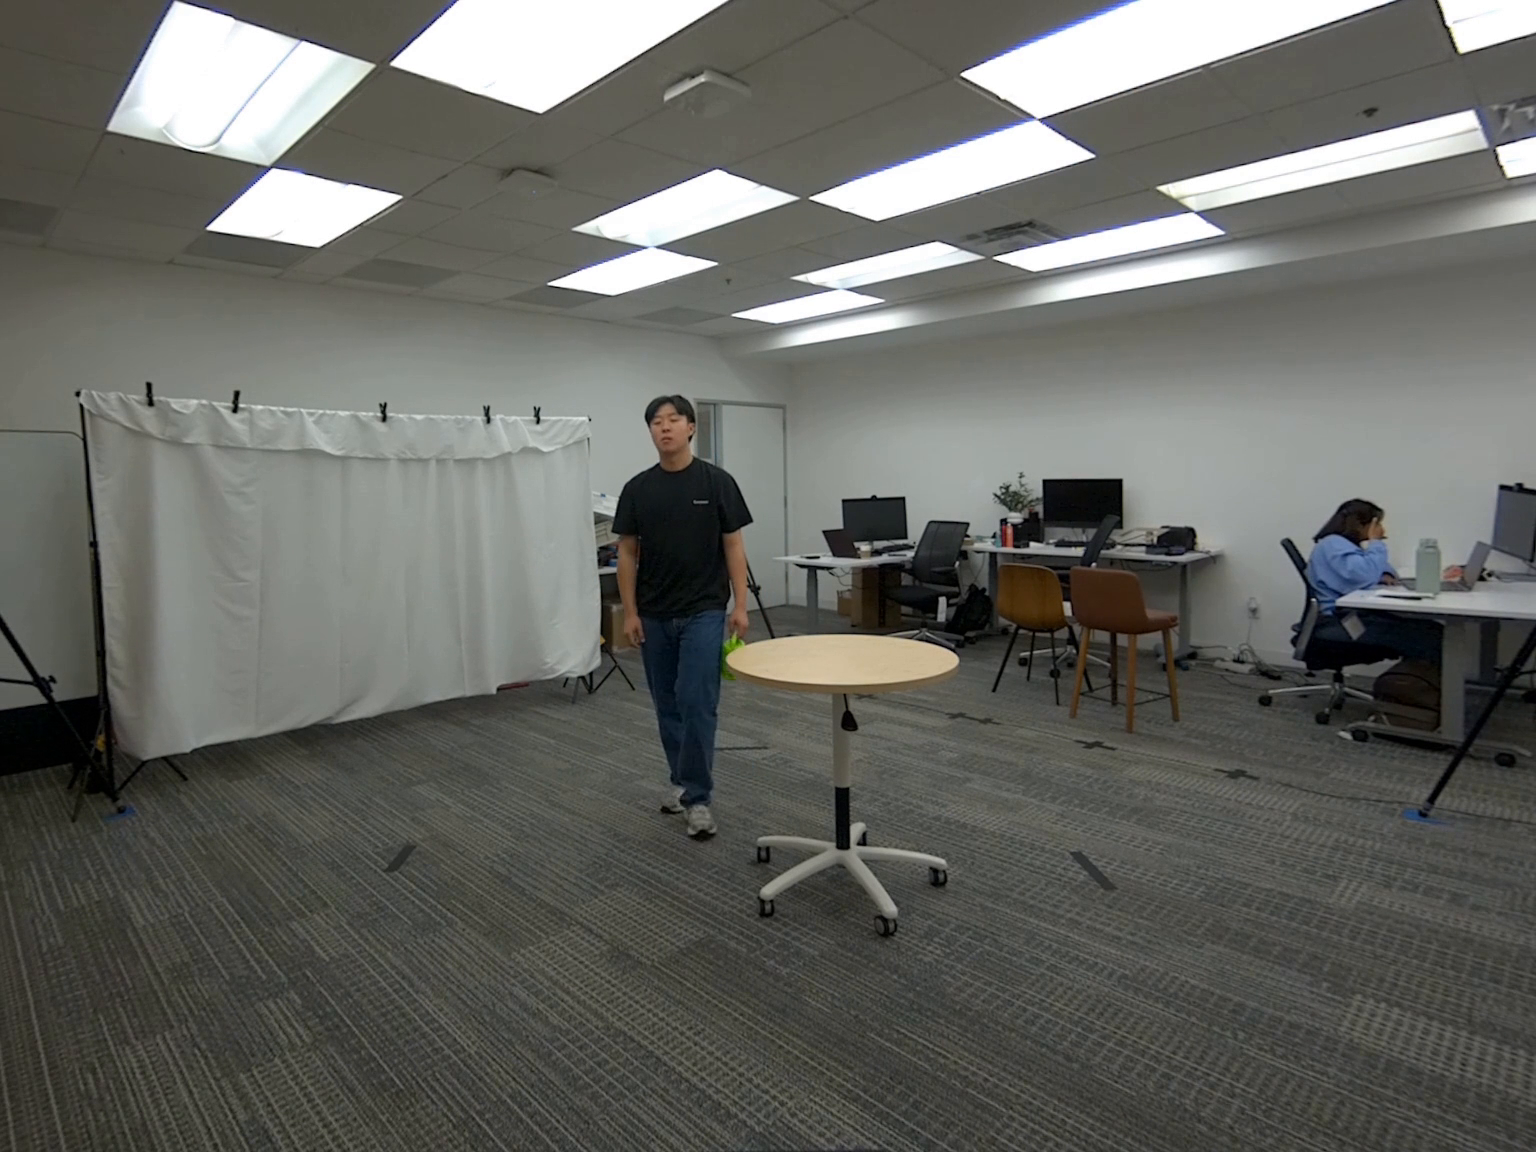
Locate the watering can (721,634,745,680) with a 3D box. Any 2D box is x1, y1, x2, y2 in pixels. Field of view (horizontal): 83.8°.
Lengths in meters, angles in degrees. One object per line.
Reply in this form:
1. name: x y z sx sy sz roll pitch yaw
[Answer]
1. watering can: -0.151 0.327 3.426 0.100 0.175 0.276 7 12 16
